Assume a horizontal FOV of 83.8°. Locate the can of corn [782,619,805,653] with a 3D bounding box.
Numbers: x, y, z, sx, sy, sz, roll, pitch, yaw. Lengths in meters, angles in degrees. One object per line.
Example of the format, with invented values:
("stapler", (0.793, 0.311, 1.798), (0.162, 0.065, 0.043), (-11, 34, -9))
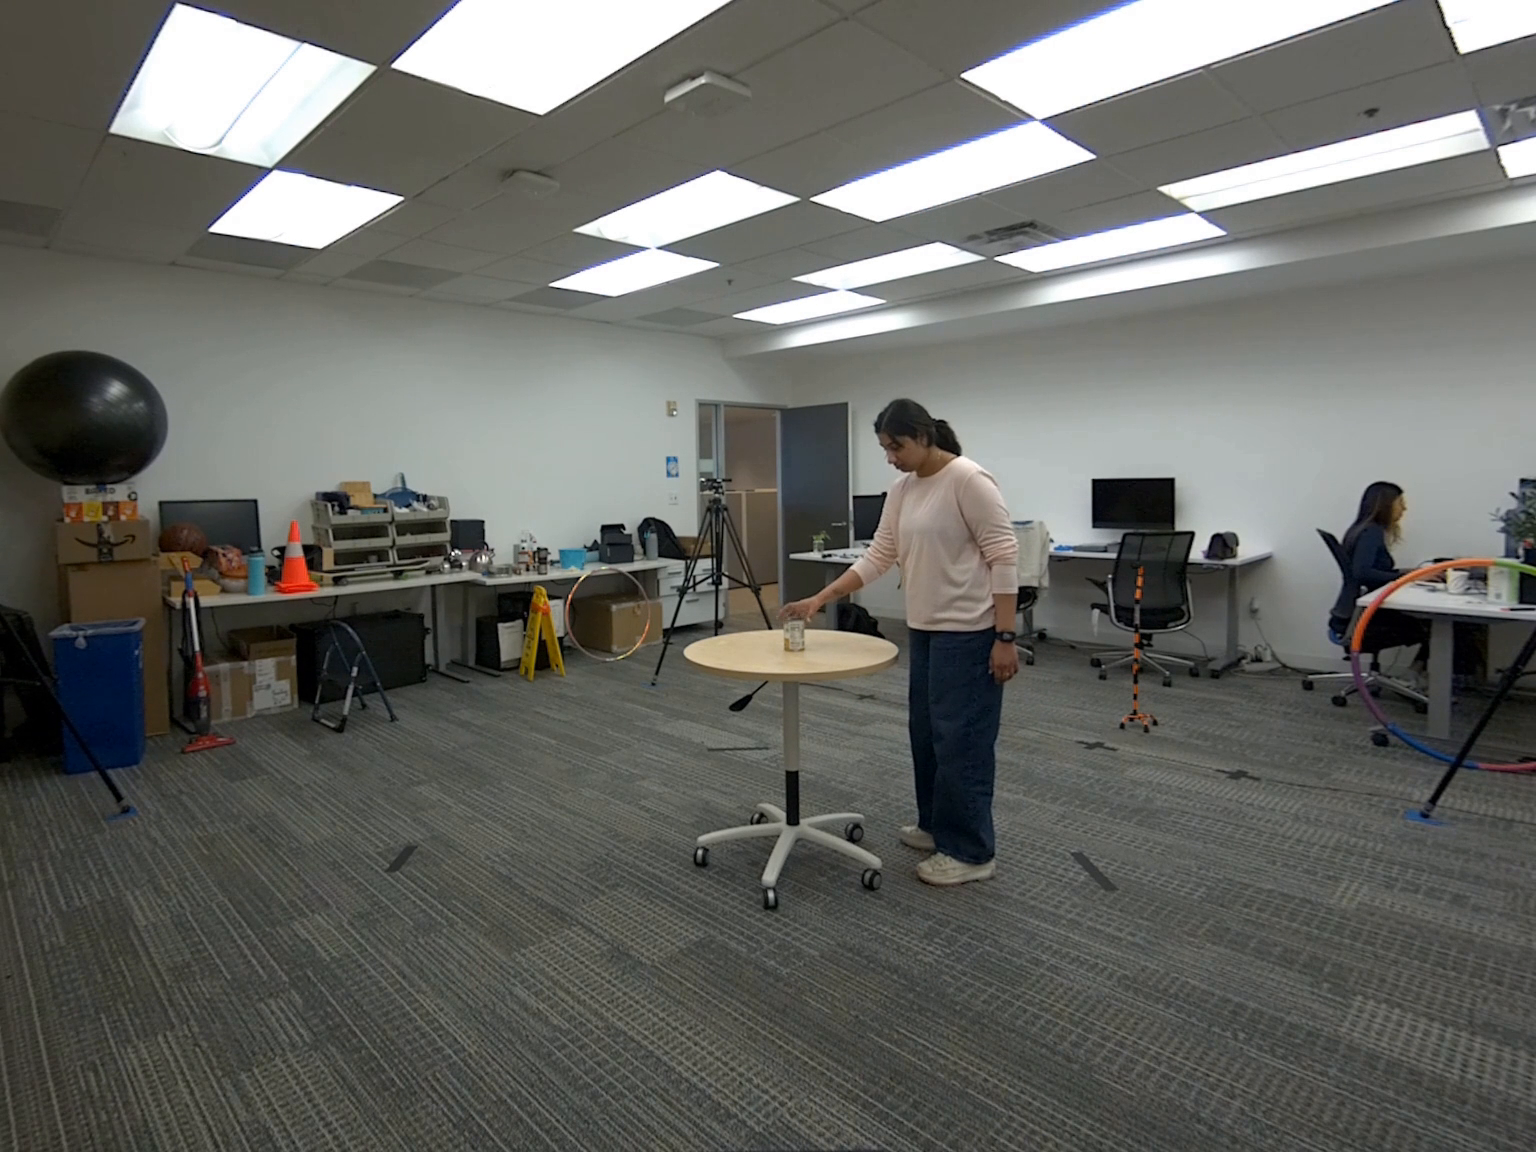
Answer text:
("can of corn", (0.098, 0.209, 3.049), (0.074, 0.110, 0.074), (0, 4, -2))
